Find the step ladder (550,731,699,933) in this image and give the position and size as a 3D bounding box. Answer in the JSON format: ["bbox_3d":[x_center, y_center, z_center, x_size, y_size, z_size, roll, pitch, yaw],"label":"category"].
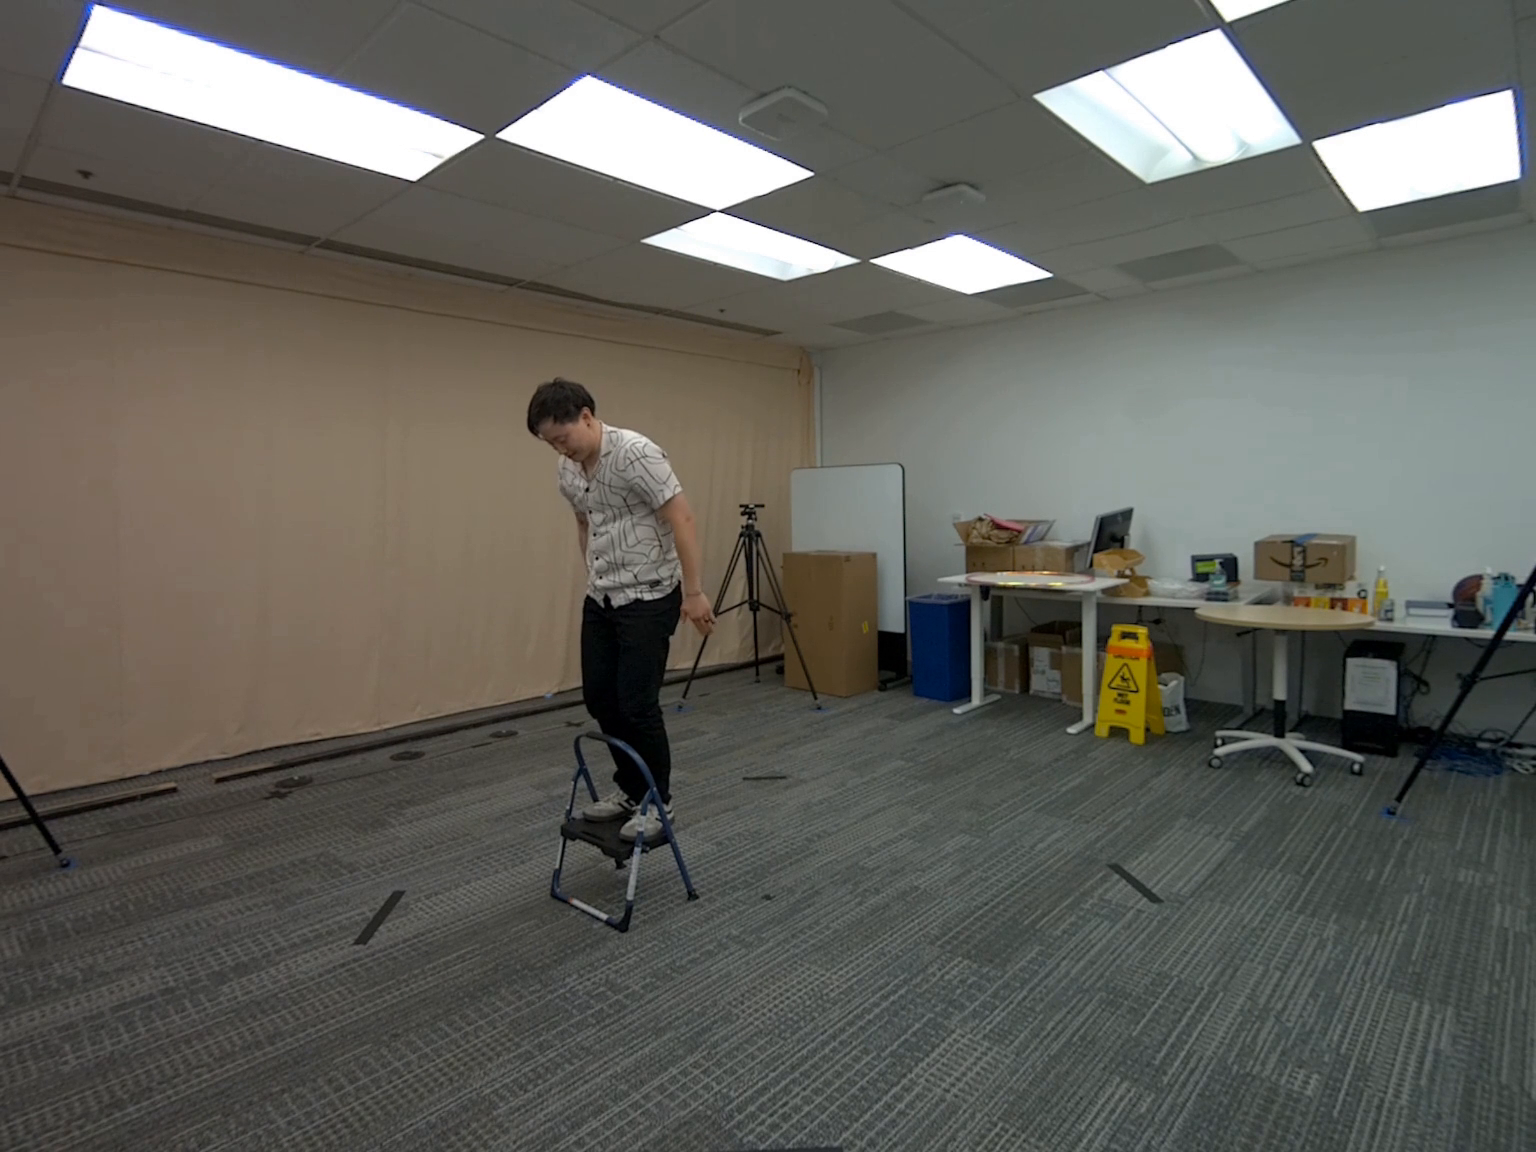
[{"bbox_3d":[-0.526,0.845,2.998,0.445,0.604,0.339,2,5,41],"label":"step ladder"}]
